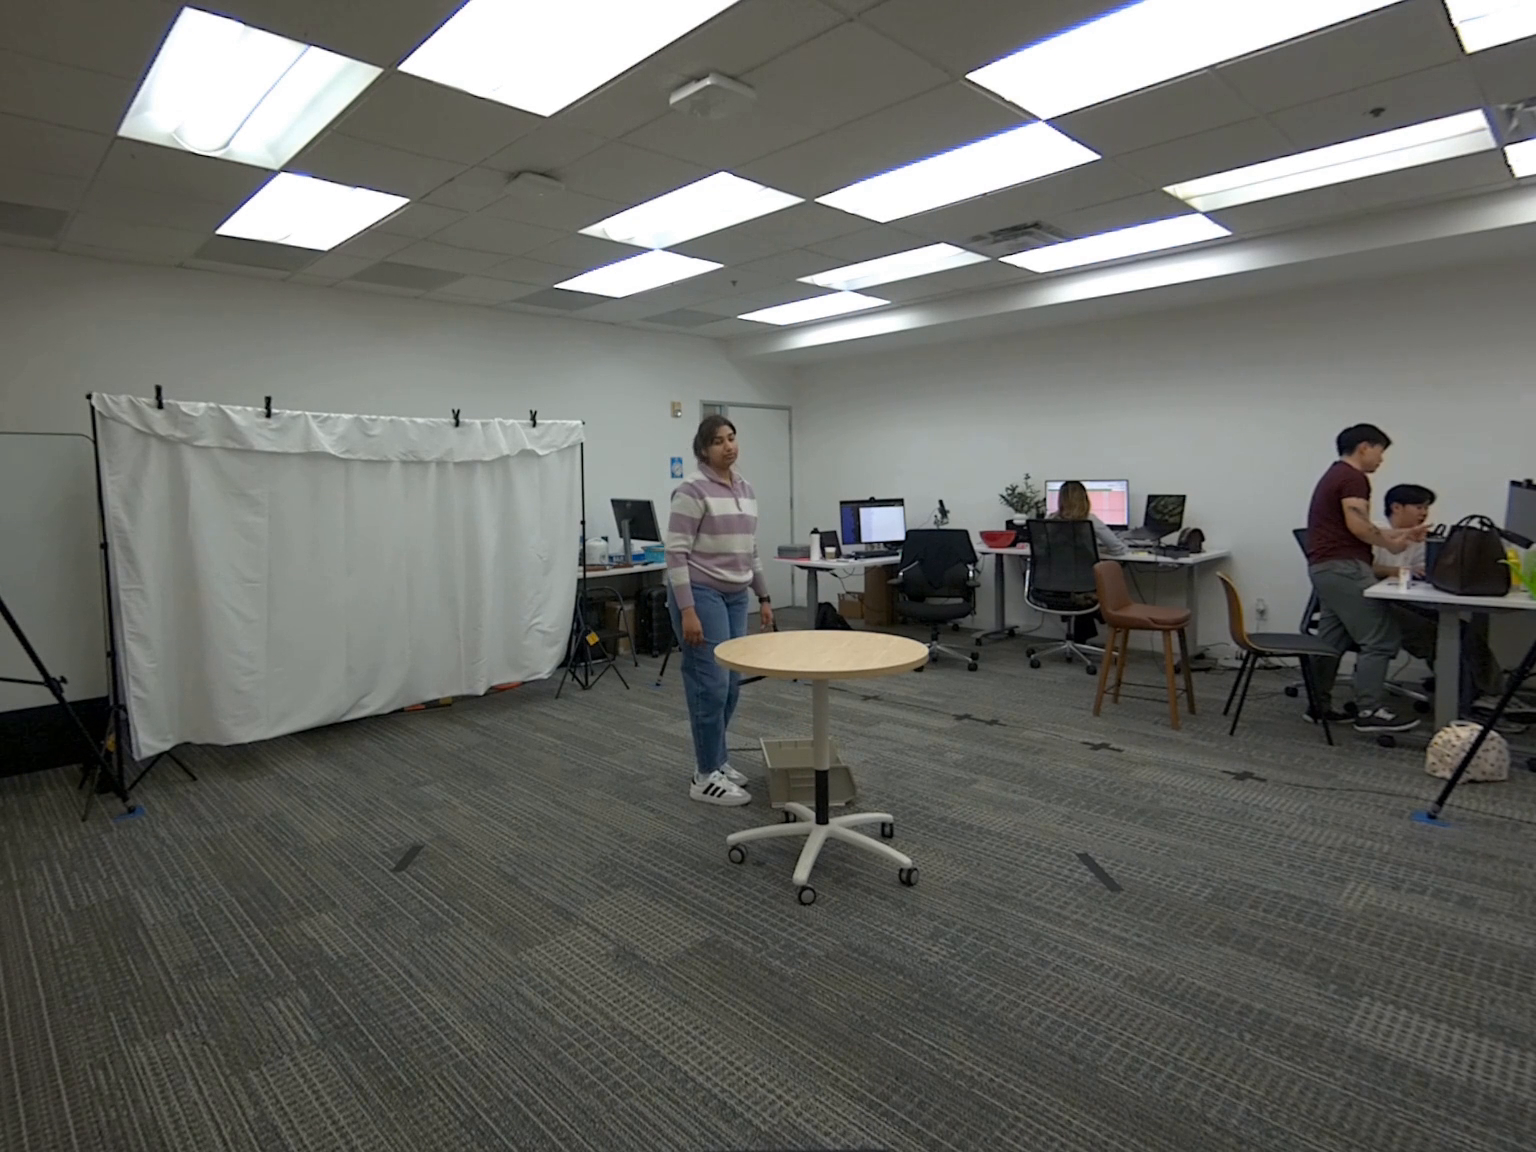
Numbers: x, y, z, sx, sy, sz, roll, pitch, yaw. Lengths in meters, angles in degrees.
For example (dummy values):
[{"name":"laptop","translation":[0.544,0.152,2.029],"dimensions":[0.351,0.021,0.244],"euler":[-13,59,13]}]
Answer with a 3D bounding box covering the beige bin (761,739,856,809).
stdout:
[{"name":"beige bin","translation":[0.174,0.875,3.837],"dimensions":[0.376,0.188,0.426],"euler":[-2,6,-4]}]
